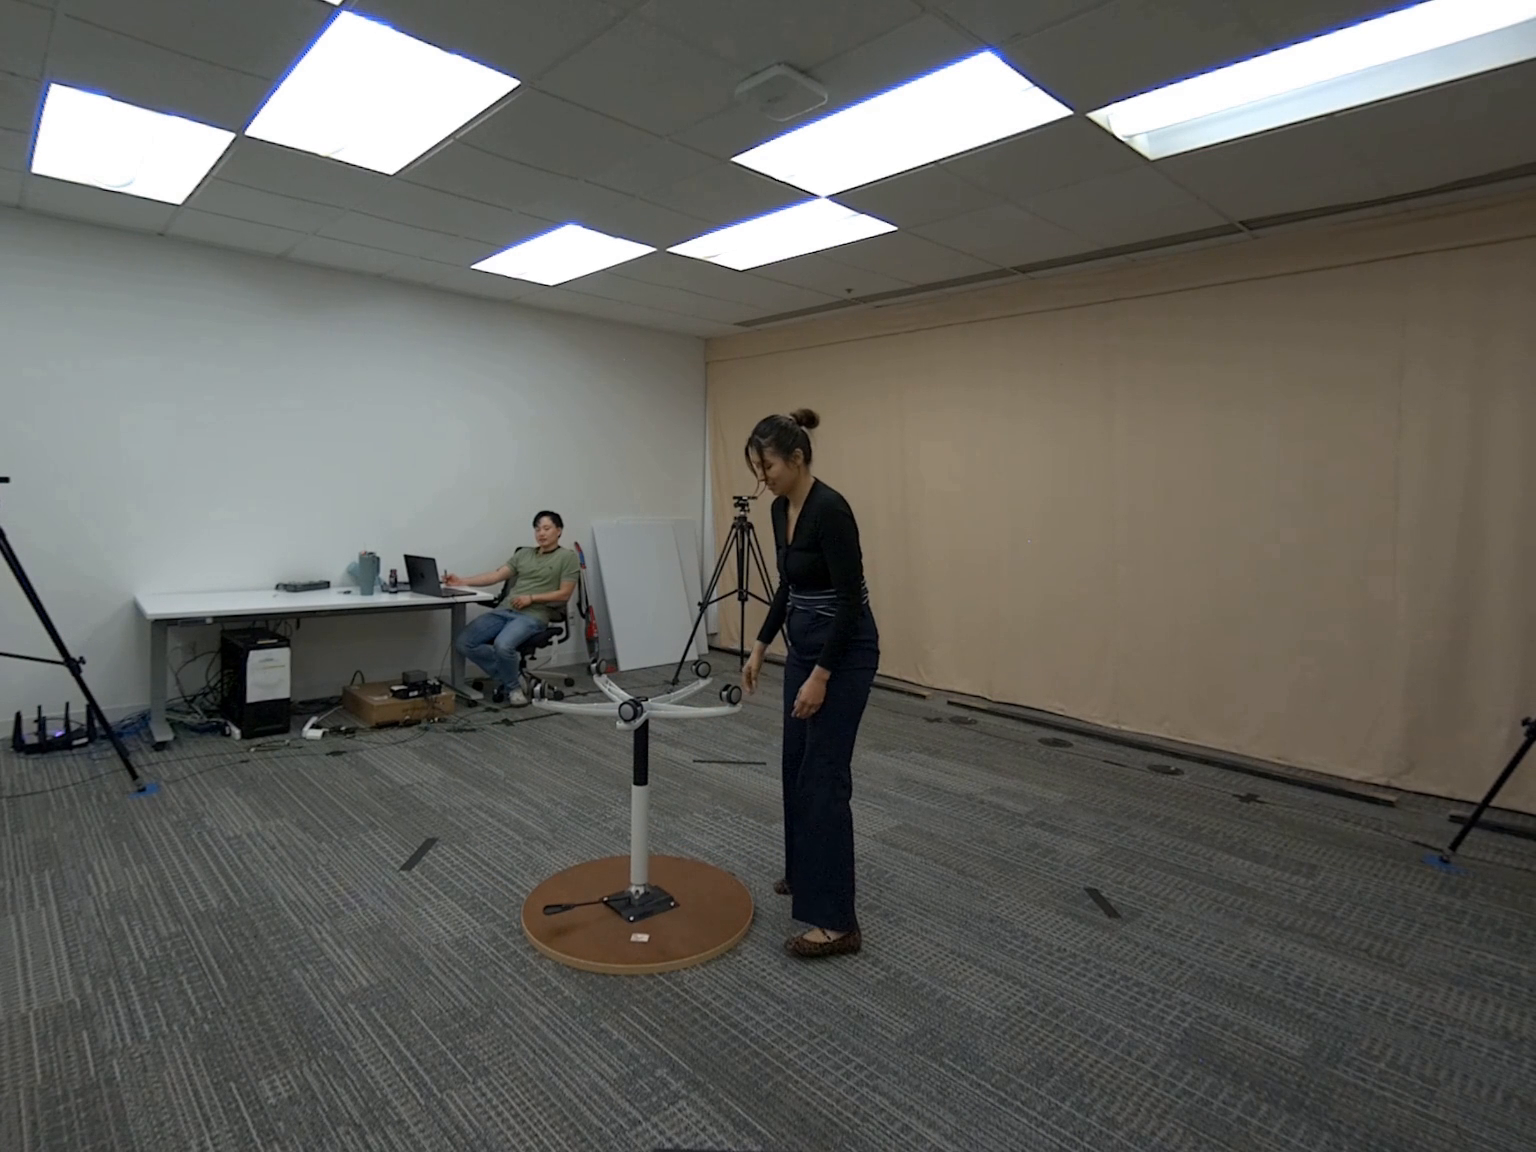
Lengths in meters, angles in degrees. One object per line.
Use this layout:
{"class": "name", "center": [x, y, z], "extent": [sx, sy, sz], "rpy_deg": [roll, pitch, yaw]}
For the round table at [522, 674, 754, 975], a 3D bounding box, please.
{"class": "round table", "center": [-0.426, 0.730, 2.794], "extent": [0.763, 0.791, 0.767], "rpy_deg": [1, 5, -1]}
